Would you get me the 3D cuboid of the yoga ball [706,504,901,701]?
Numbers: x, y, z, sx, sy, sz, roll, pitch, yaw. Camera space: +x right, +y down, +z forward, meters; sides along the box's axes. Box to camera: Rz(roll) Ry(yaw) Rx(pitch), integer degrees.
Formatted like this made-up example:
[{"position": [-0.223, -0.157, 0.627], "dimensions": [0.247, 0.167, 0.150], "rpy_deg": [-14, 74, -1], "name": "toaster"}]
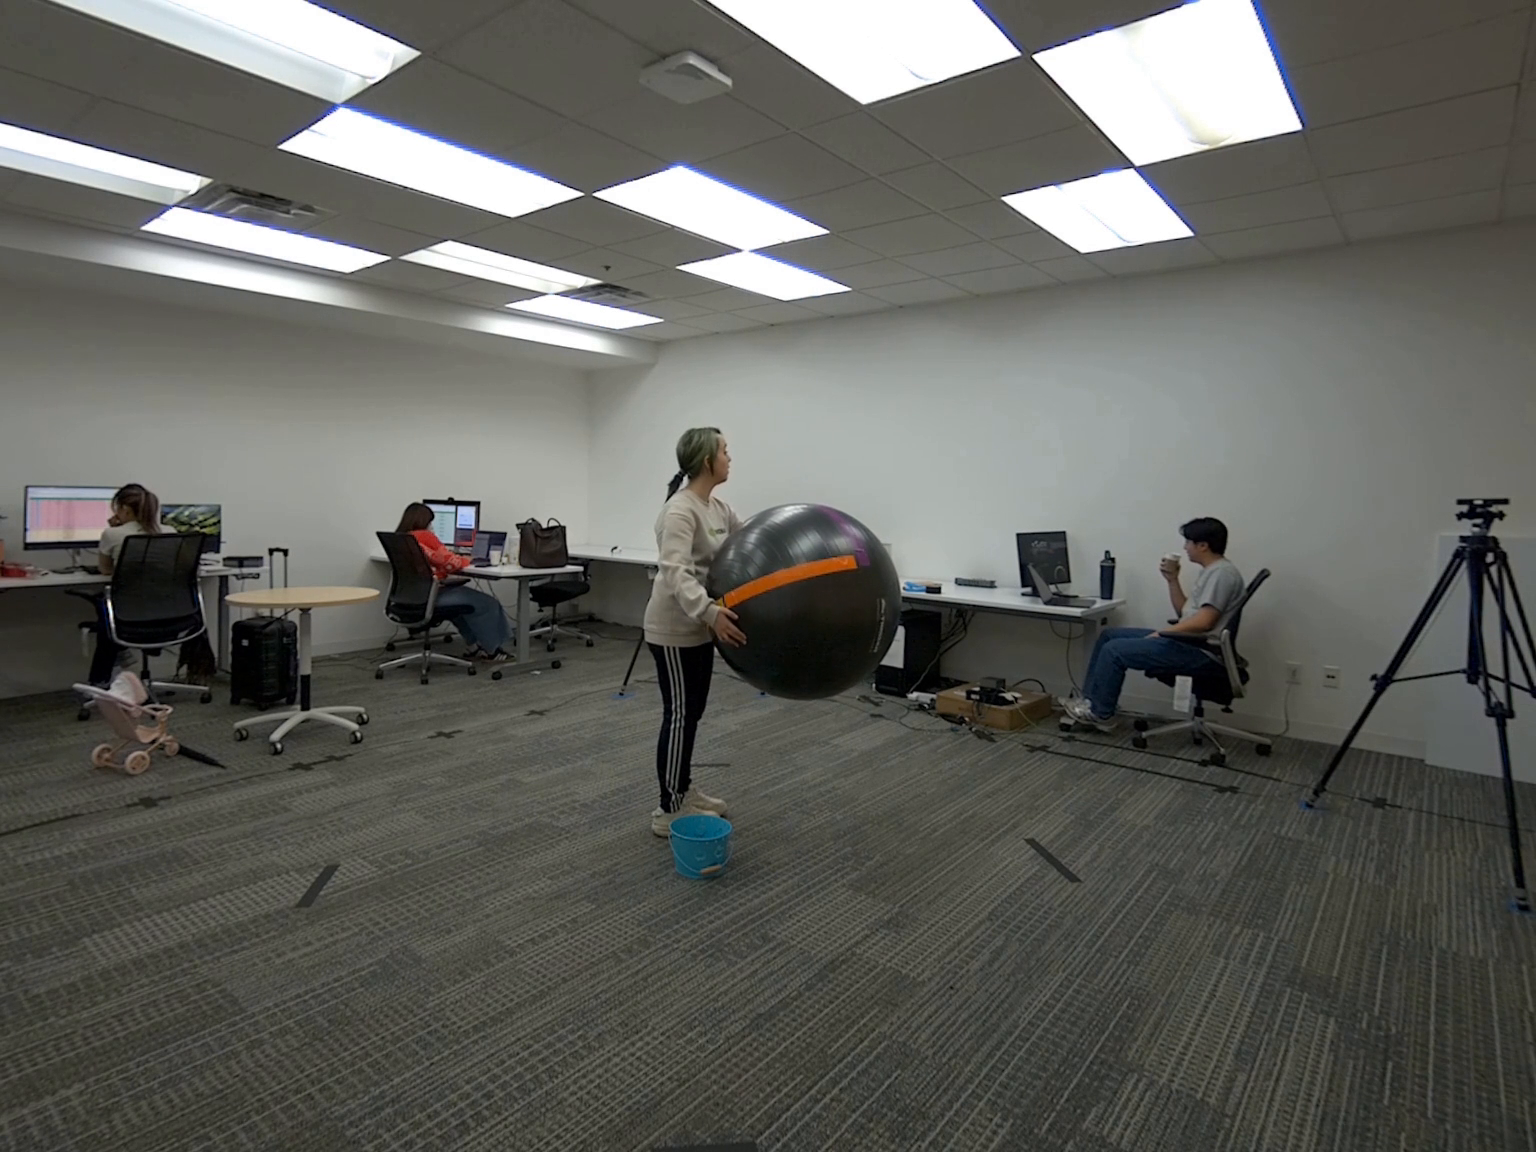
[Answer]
[{"position": [0.123, 0.104, 3.293], "dimensions": [0.757, 0.756, 0.762], "rpy_deg": [1, 4, -2], "name": "yoga ball"}]
